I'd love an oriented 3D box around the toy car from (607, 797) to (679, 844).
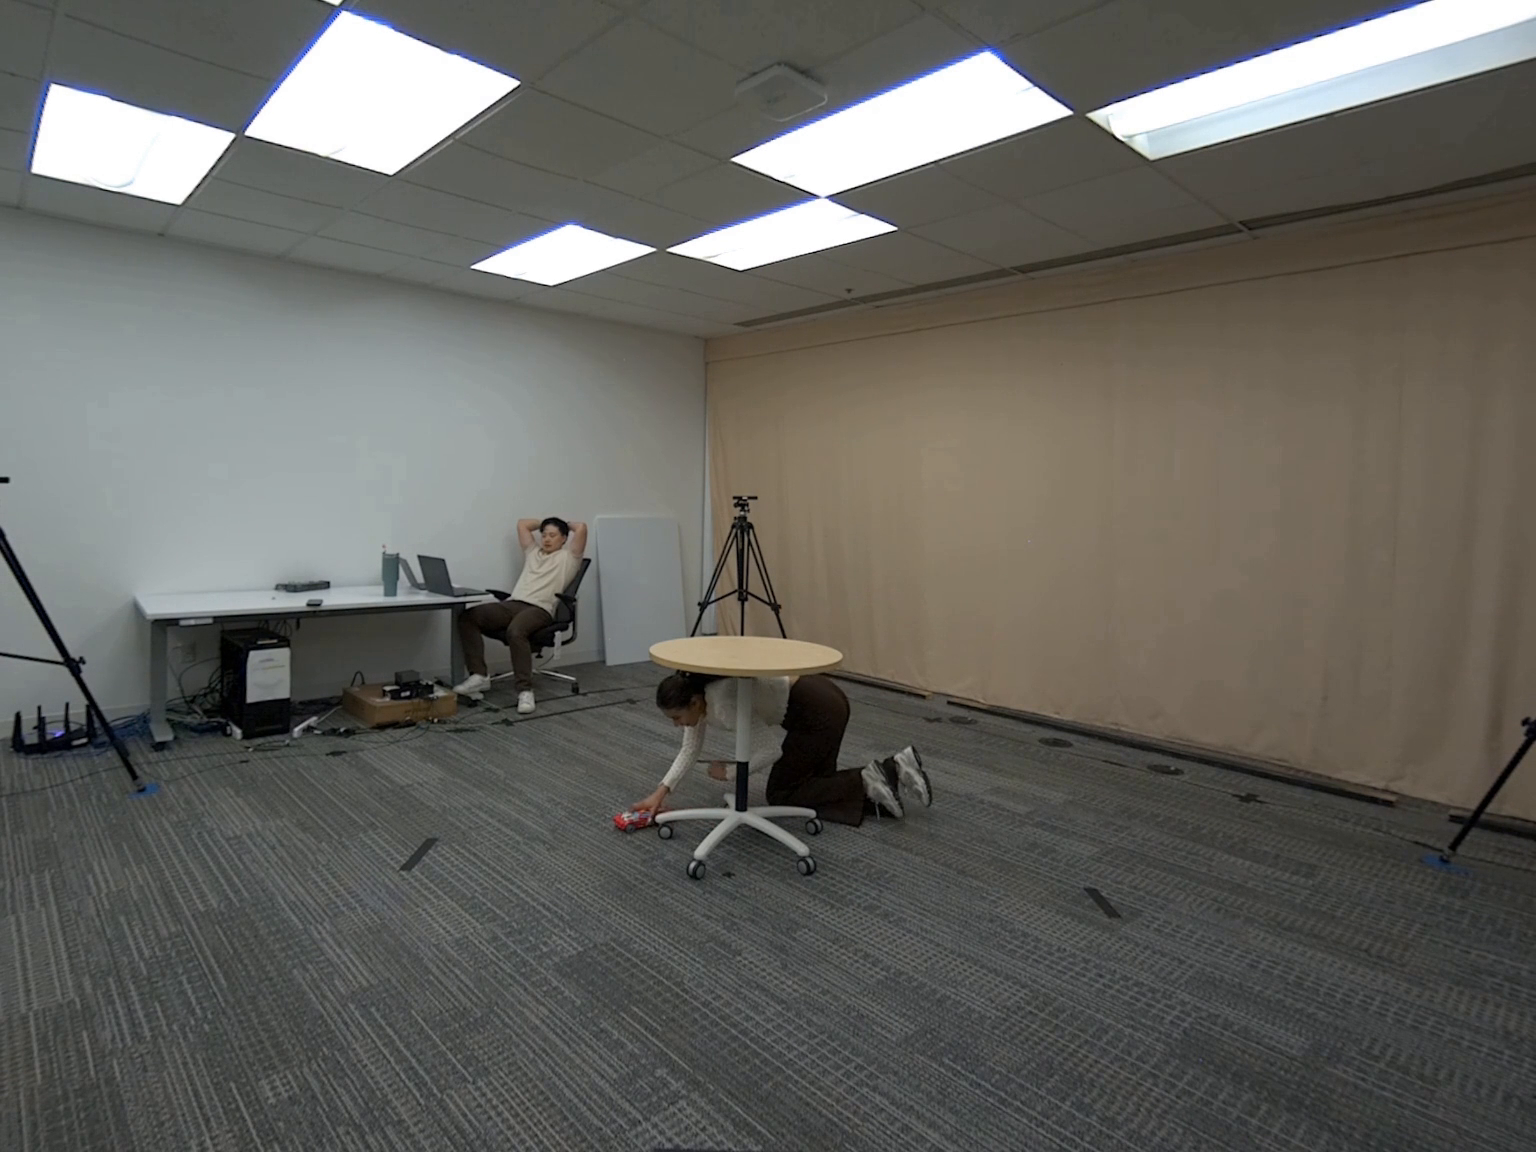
[{"bbox_3d":[-0.526,1.015,3.560,0.250,0.083,0.133,-14,10,-33],"label":"toy car"}]
